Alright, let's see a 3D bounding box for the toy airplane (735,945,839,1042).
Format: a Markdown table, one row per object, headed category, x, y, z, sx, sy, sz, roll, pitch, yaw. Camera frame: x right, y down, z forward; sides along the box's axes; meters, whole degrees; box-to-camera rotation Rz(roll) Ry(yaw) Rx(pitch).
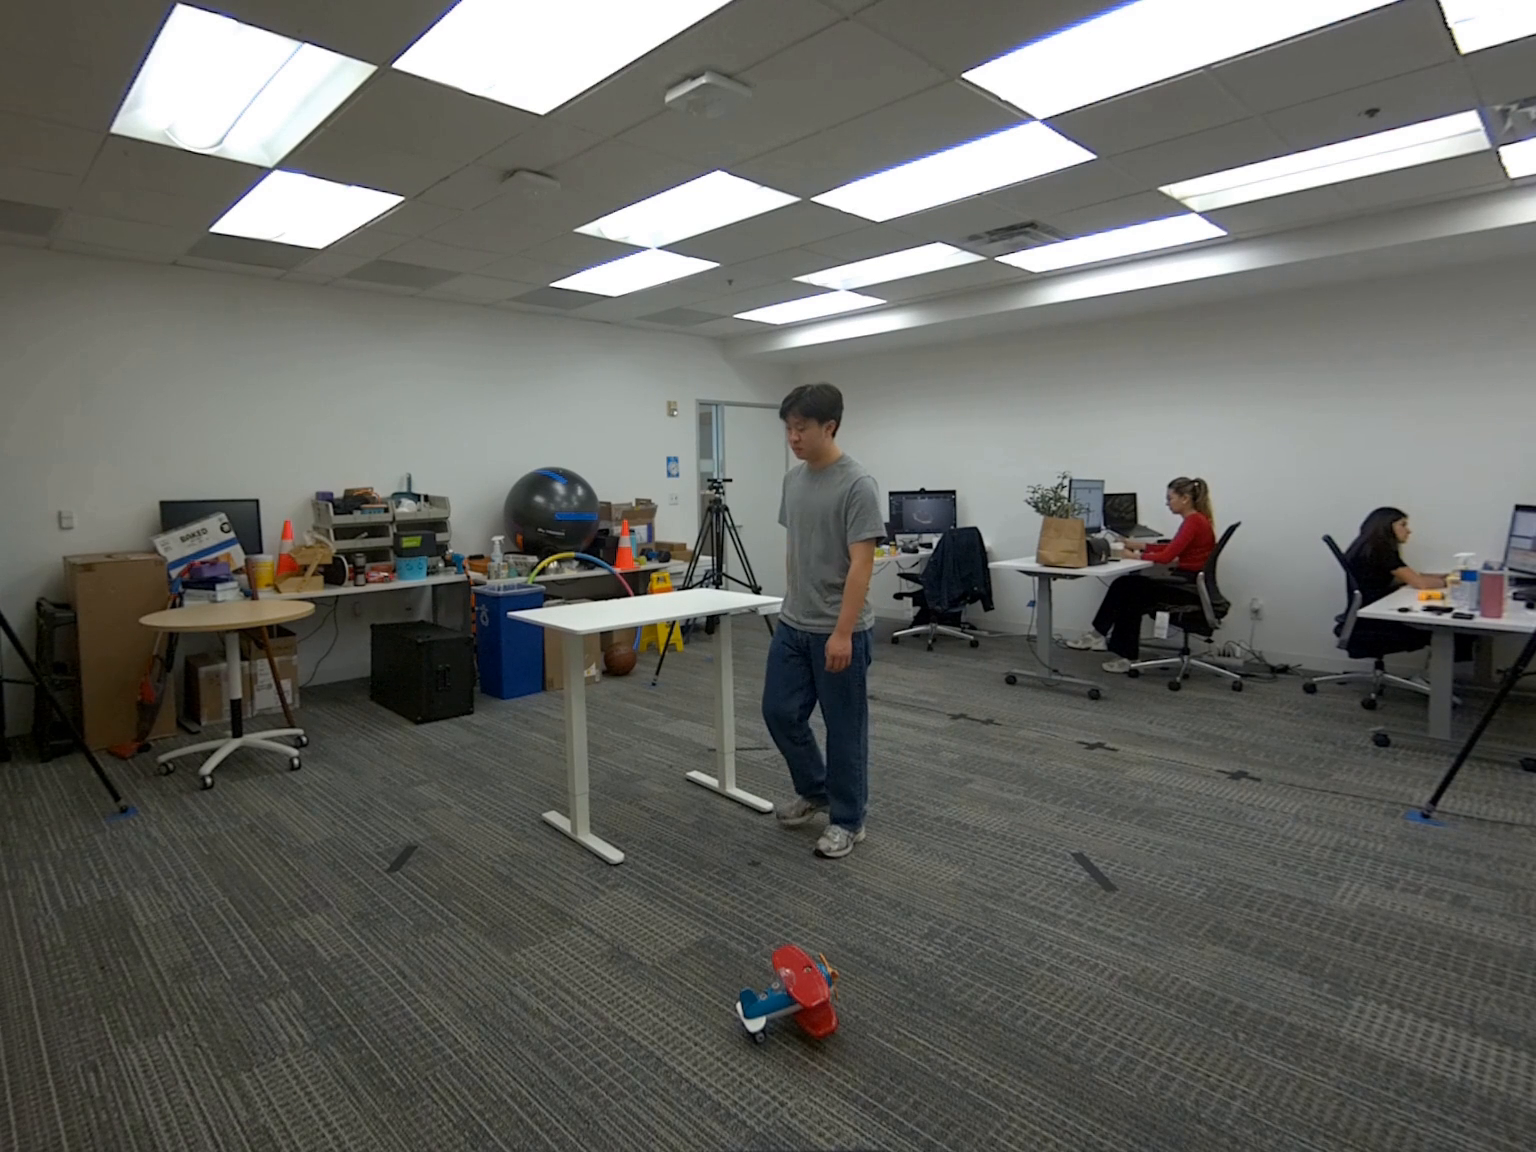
| category | x | y | z | sx | sy | sz | roll | pitch | yaw |
| --- | --- | --- | --- | --- | --- | --- | --- | --- | --- |
| toy airplane | 0.070 | 1.087 | 2.144 | 0.259 | 0.156 | 0.252 | 6 | 9 | 43 |
